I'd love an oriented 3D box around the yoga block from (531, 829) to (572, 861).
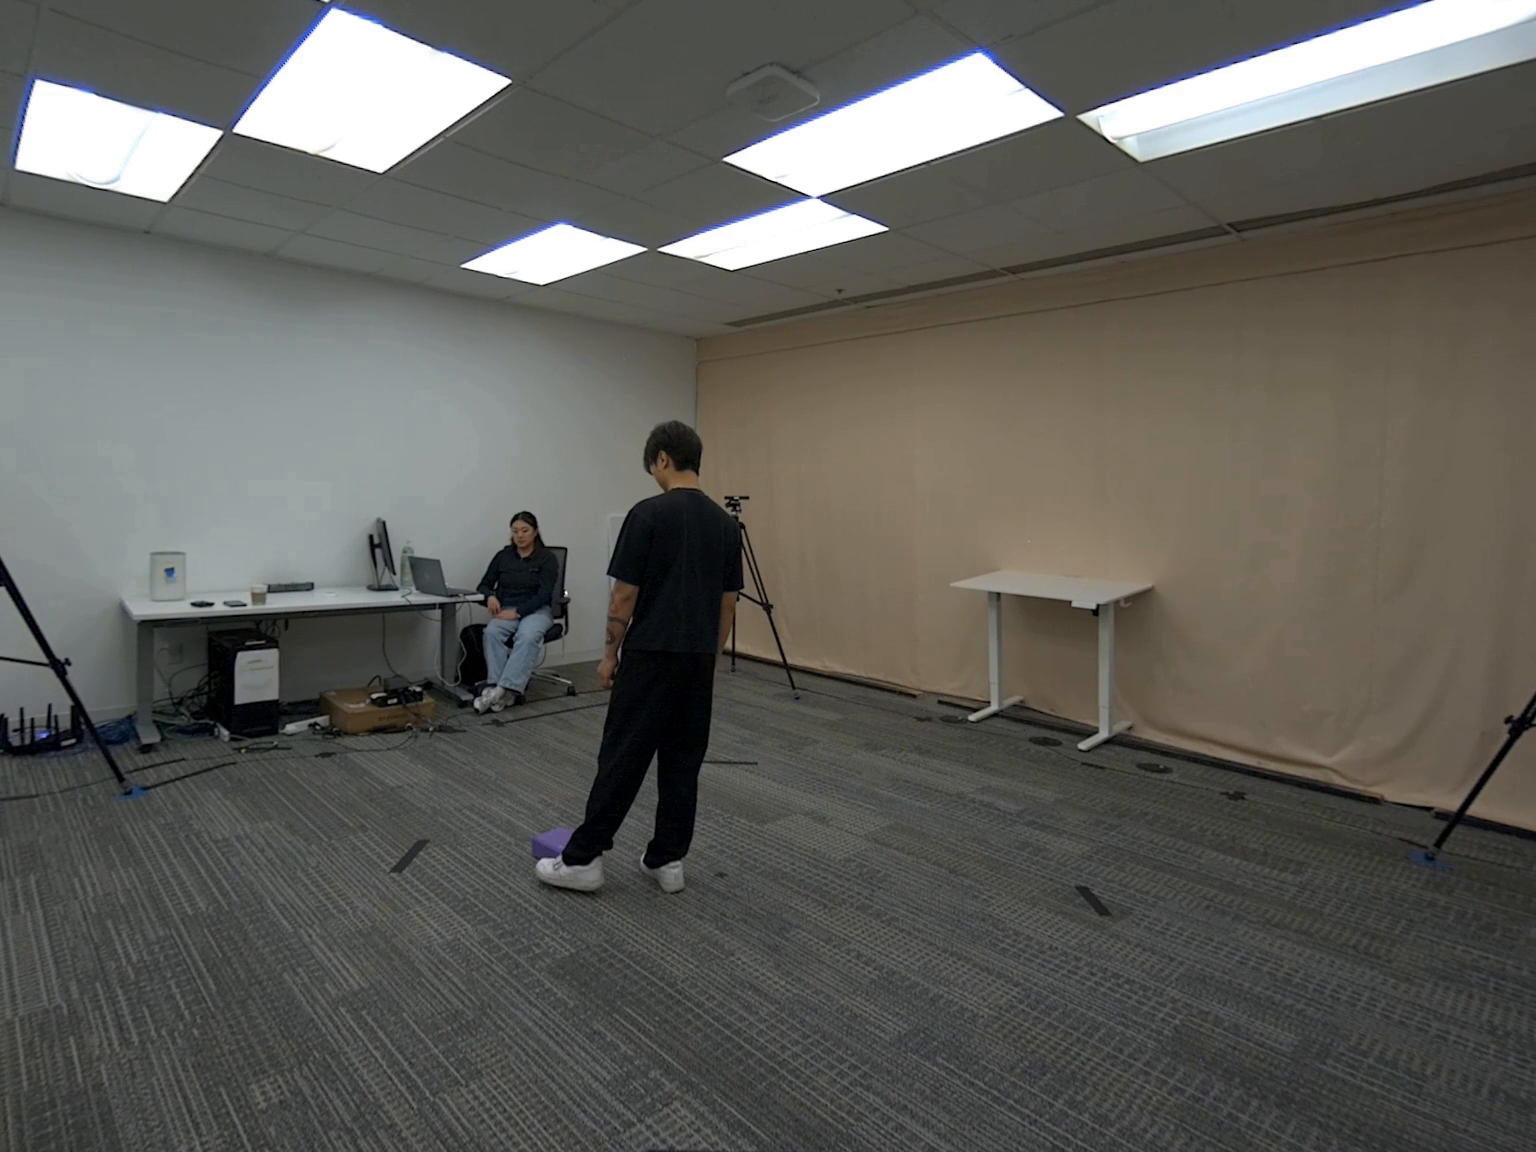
[{"bbox_3d":[-0.778,1.042,3.197,0.235,0.076,0.146,6,8,41],"label":"yoga block"}]
